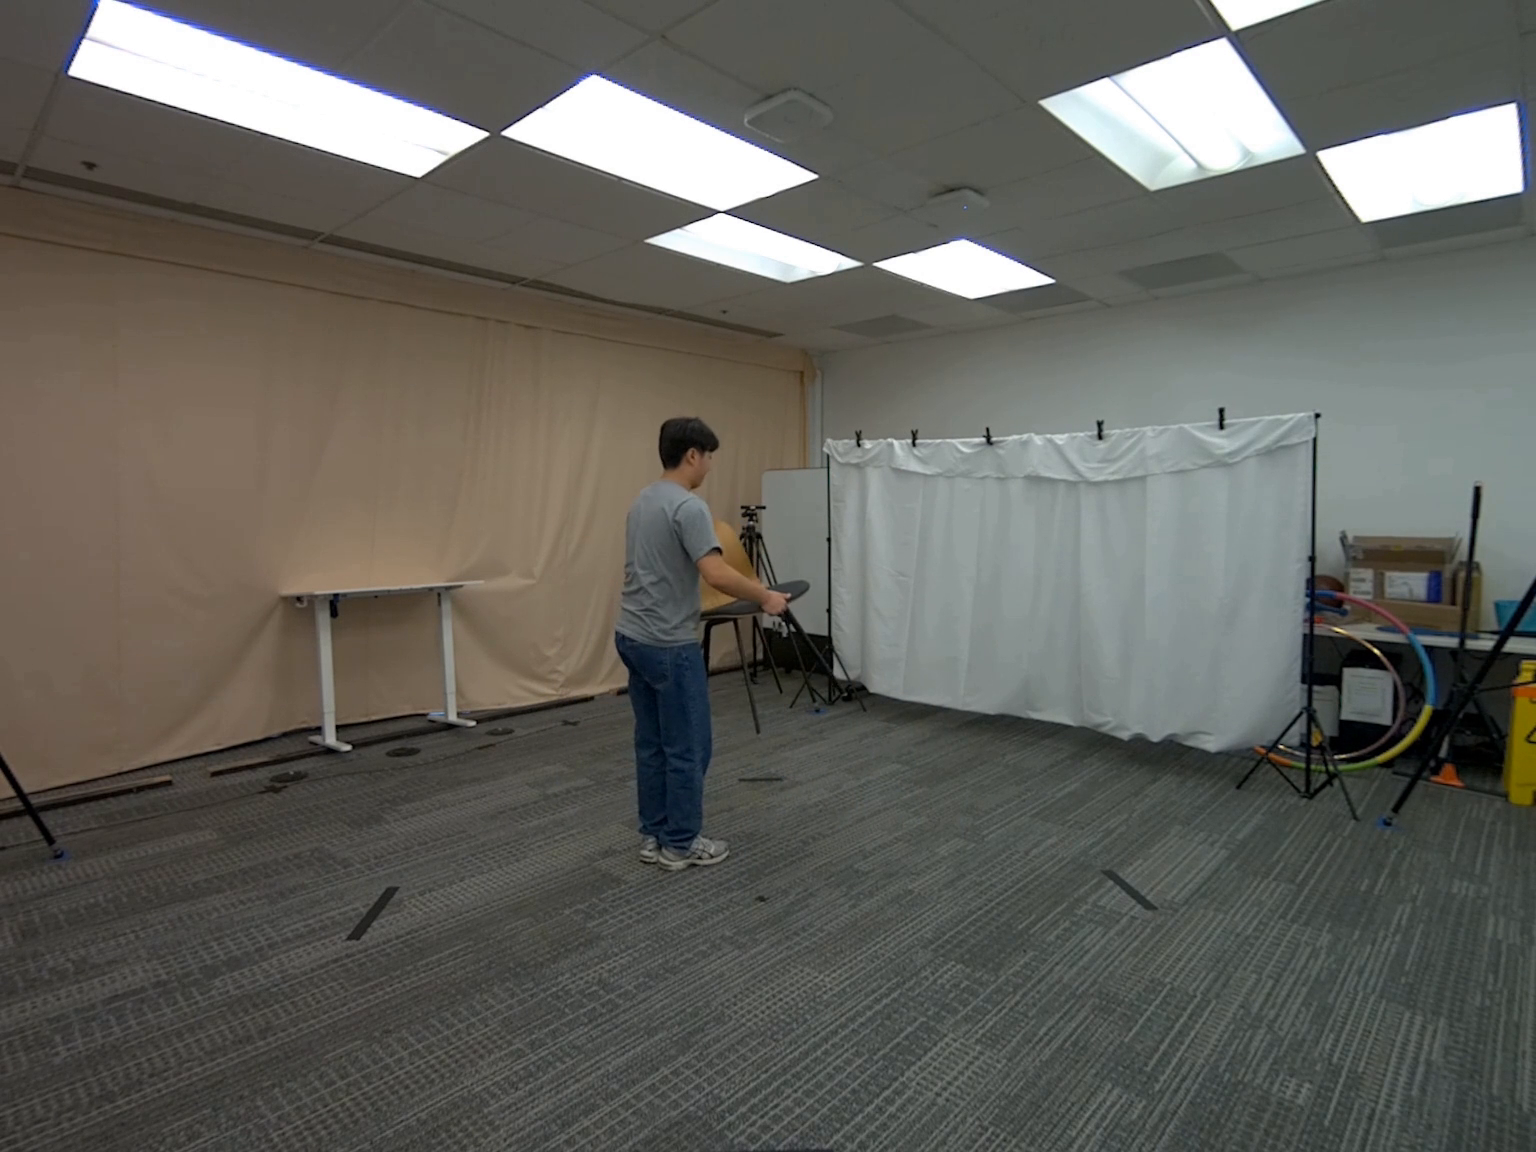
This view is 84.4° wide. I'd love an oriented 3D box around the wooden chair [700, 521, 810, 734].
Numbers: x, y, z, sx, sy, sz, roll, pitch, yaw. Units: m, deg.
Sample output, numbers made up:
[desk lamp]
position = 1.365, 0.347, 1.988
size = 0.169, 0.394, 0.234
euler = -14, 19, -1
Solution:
[wooden chair]
position = -0.091, 0.165, 3.479
size = 0.467, 0.879, 0.534
euler = -16, -2, -32
